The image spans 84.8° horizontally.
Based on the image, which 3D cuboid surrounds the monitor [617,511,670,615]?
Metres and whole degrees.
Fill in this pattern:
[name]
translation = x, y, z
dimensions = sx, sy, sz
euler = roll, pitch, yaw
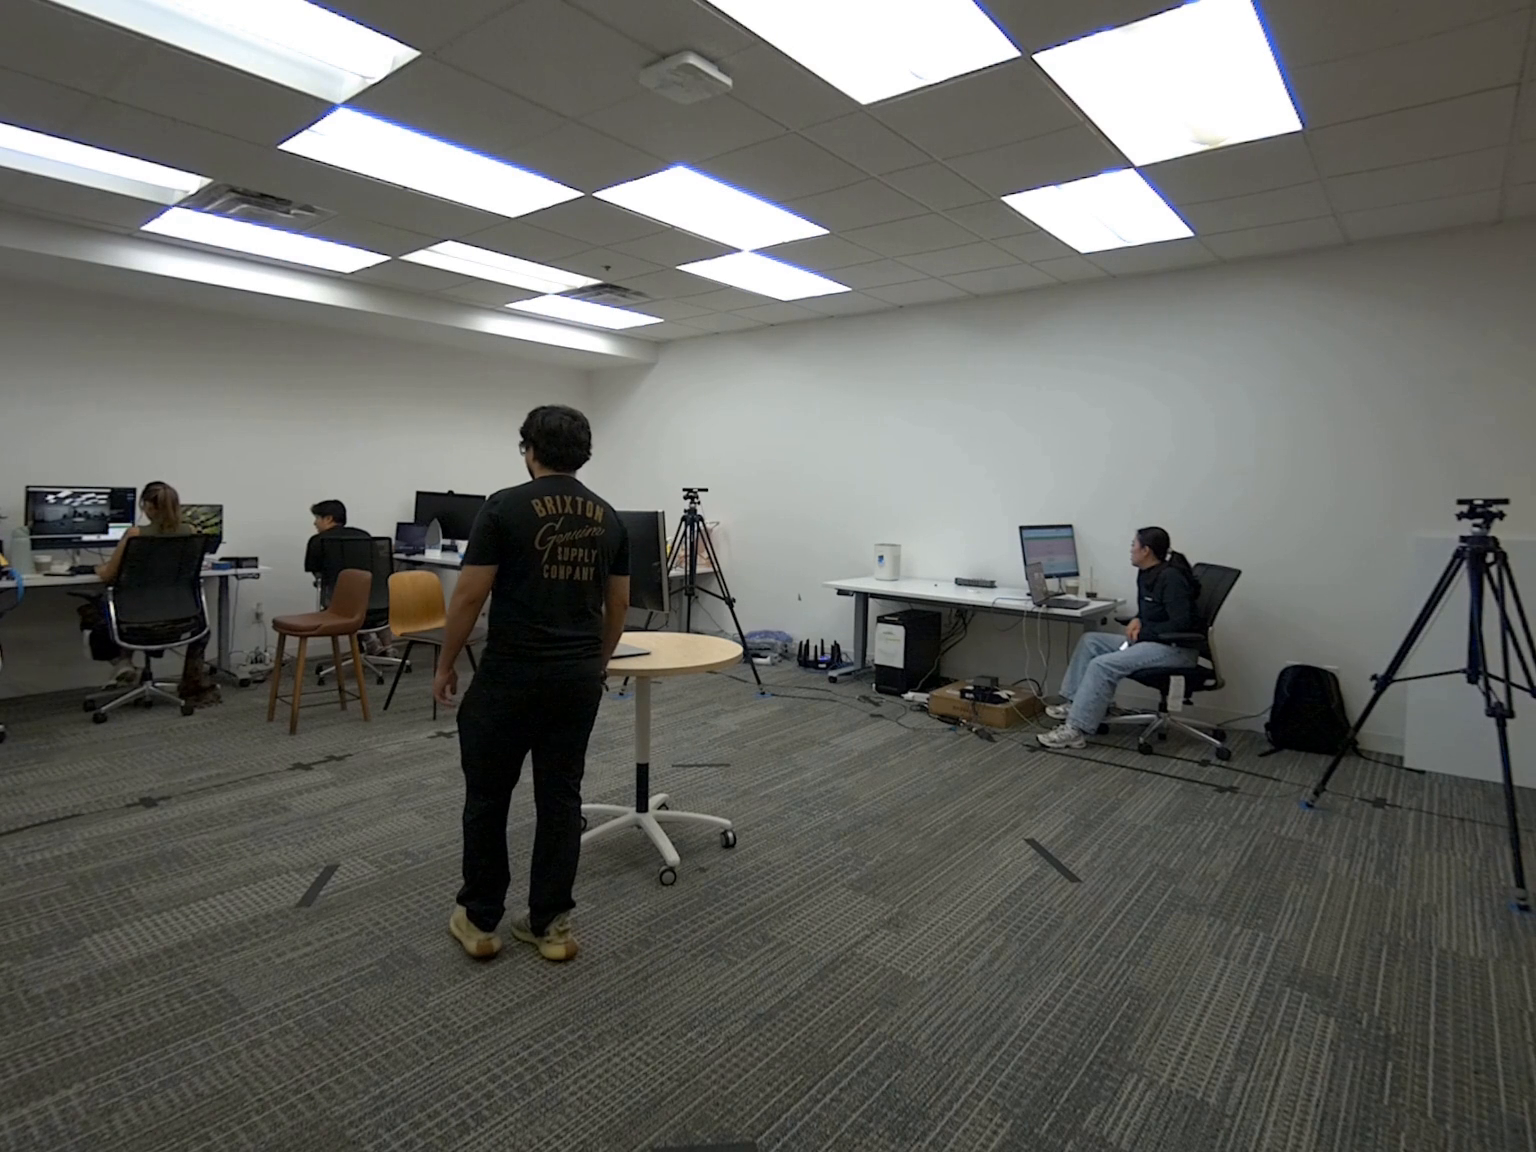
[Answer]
[monitor]
translation = -0.607, 0.022, 3.156
dimensions = 0.204, 0.552, 0.584
euler = -4, 6, -41
